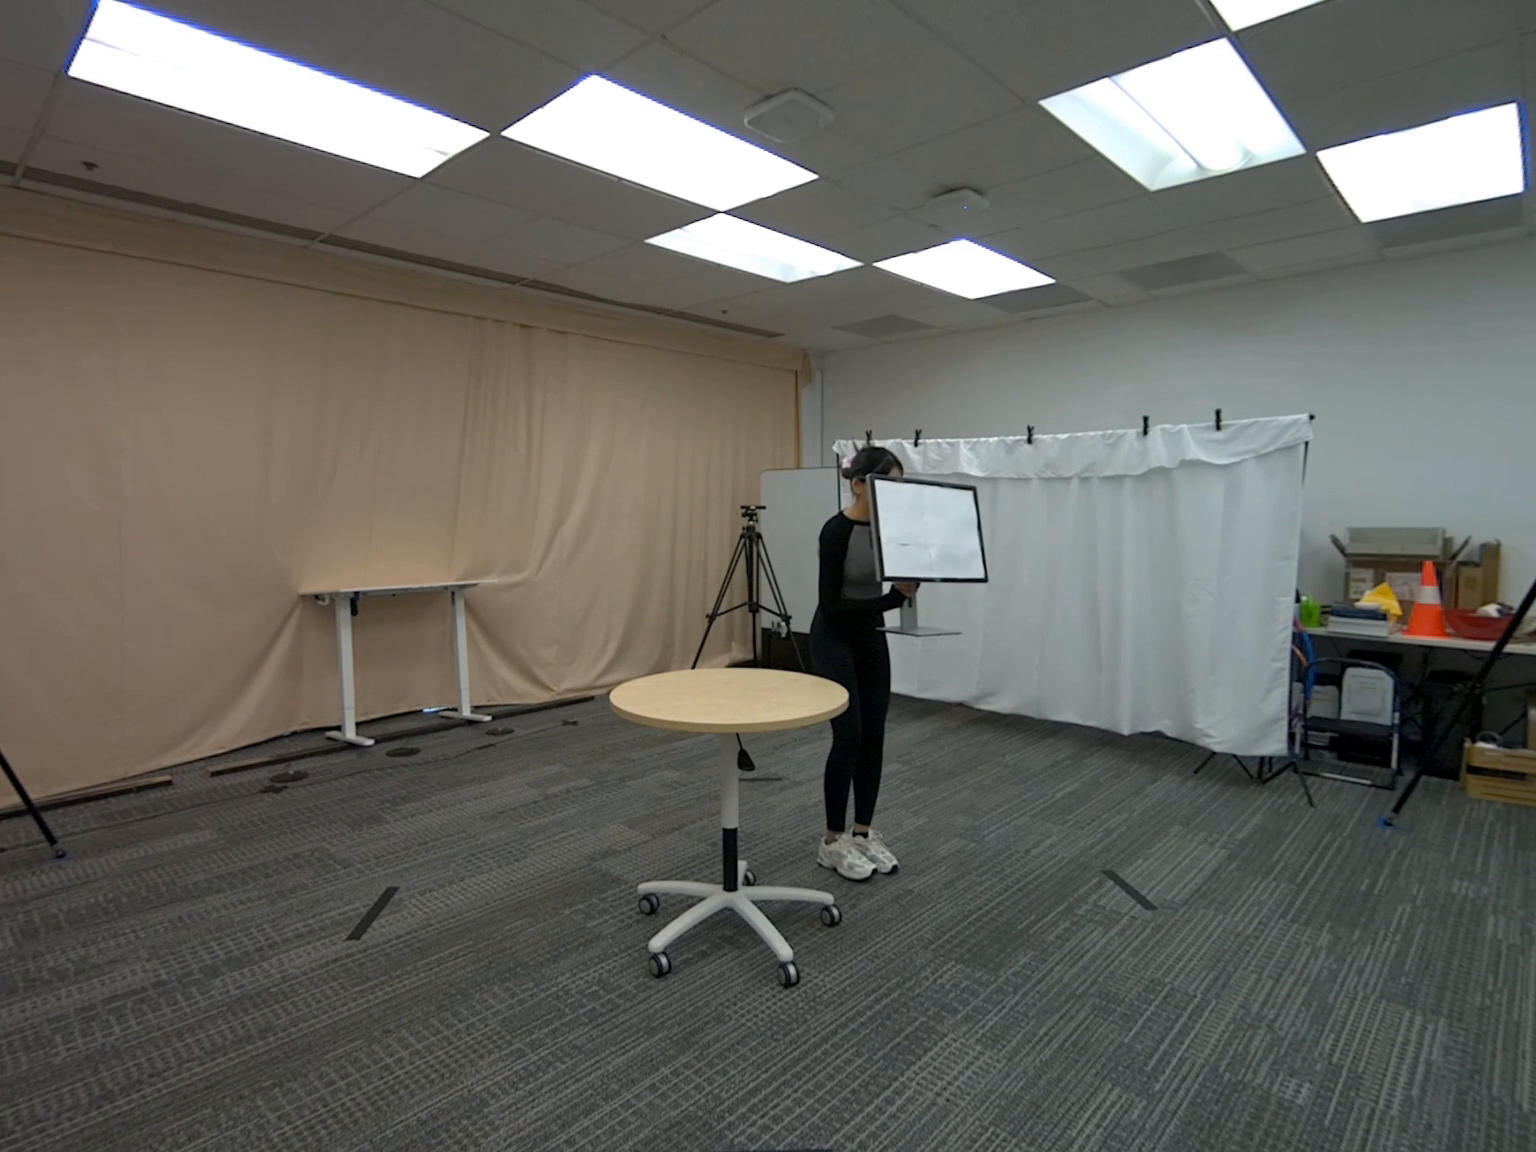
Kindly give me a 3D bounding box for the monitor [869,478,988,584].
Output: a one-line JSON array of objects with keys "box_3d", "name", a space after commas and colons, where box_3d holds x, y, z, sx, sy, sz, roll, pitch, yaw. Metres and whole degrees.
[{"box_3d": [0.545, -0.068, 2.979, 0.522, 0.522, 0.193, 0, 2, -39], "name": "monitor"}]
